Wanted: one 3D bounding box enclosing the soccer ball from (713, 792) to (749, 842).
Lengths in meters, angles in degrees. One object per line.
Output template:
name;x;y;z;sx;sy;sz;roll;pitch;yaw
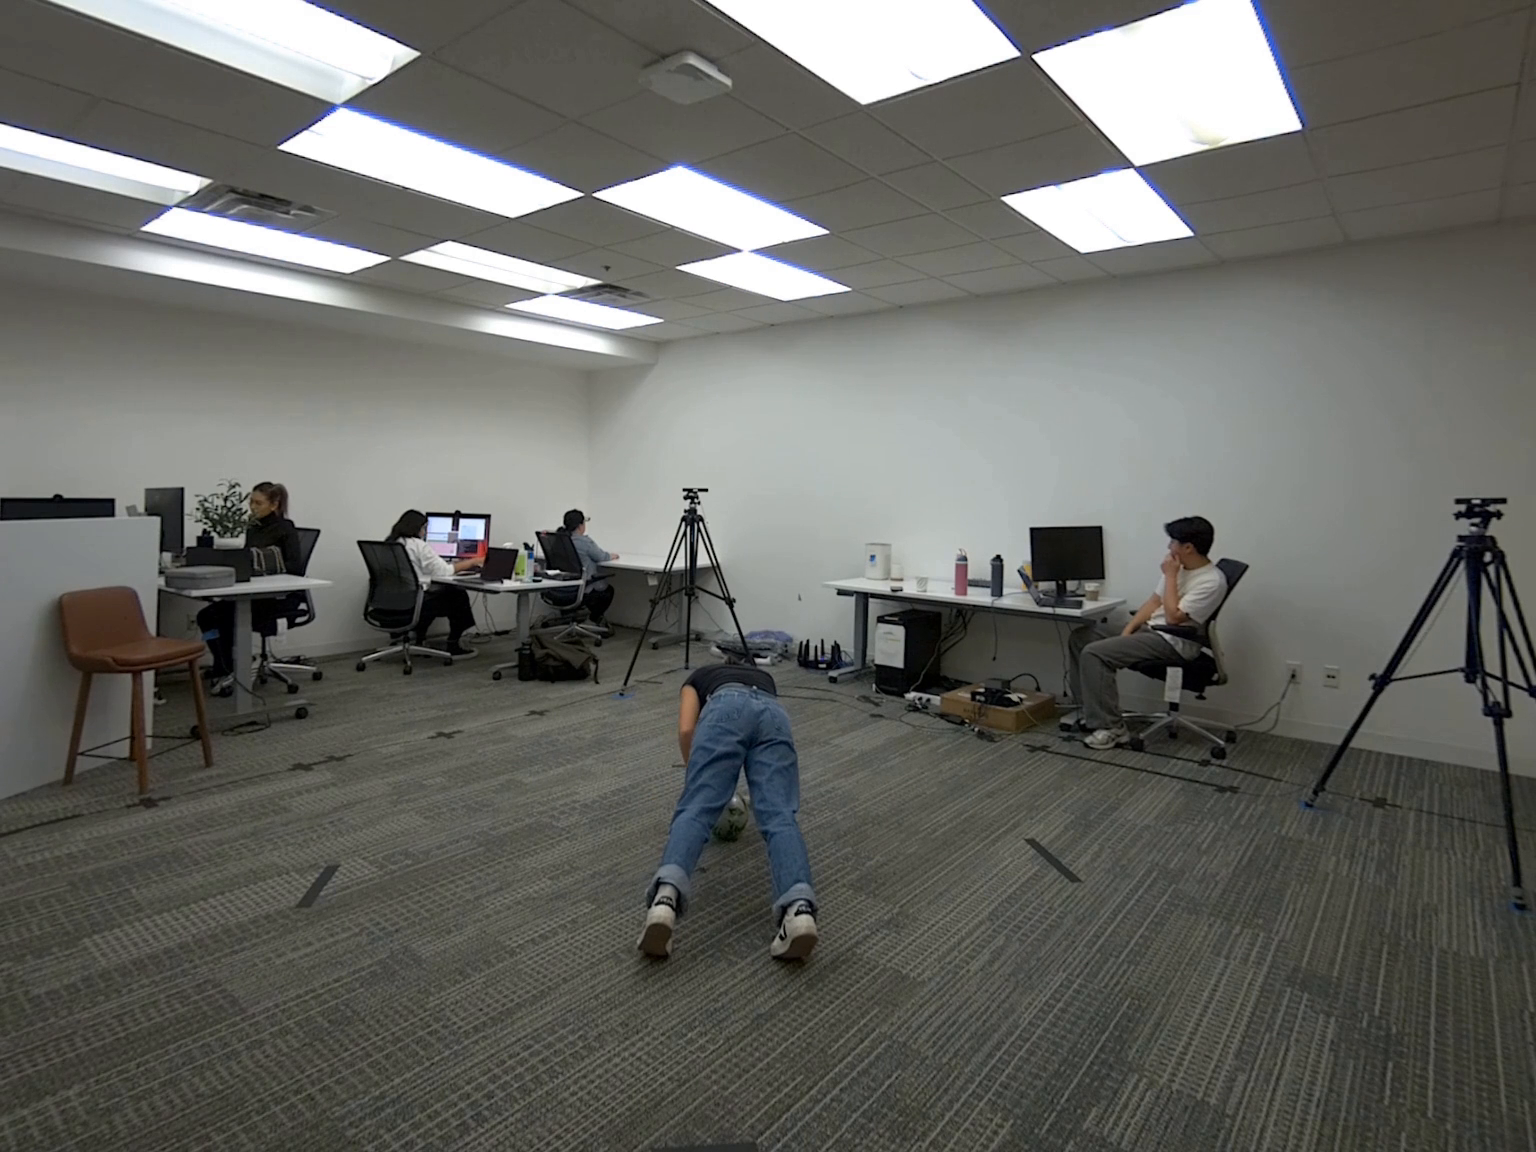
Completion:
soccer ball;-0.161;0.950;3.409;0.187;0.187;0.188;1;4;-2
